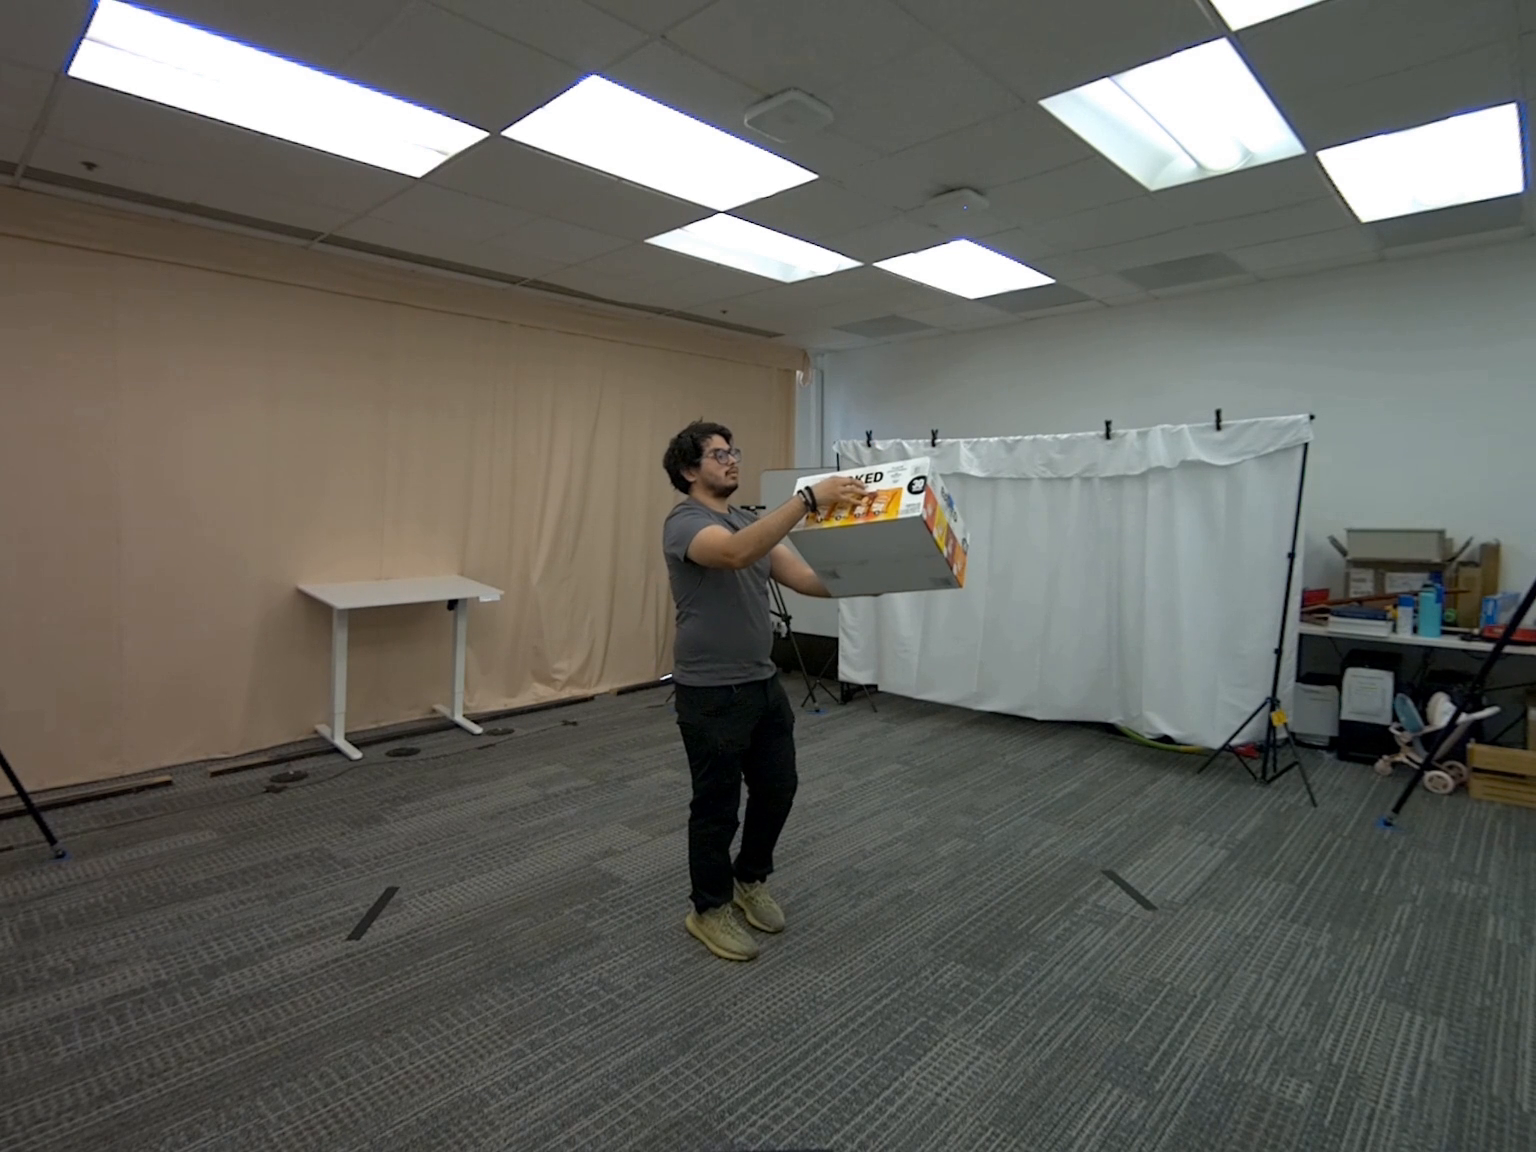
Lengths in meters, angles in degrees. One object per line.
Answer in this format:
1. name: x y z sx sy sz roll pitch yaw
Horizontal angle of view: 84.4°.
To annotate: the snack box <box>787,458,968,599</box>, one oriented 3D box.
1. snack box: 0.327 -0.124 2.408 0.416 0.207 0.329 -6 -39 32
